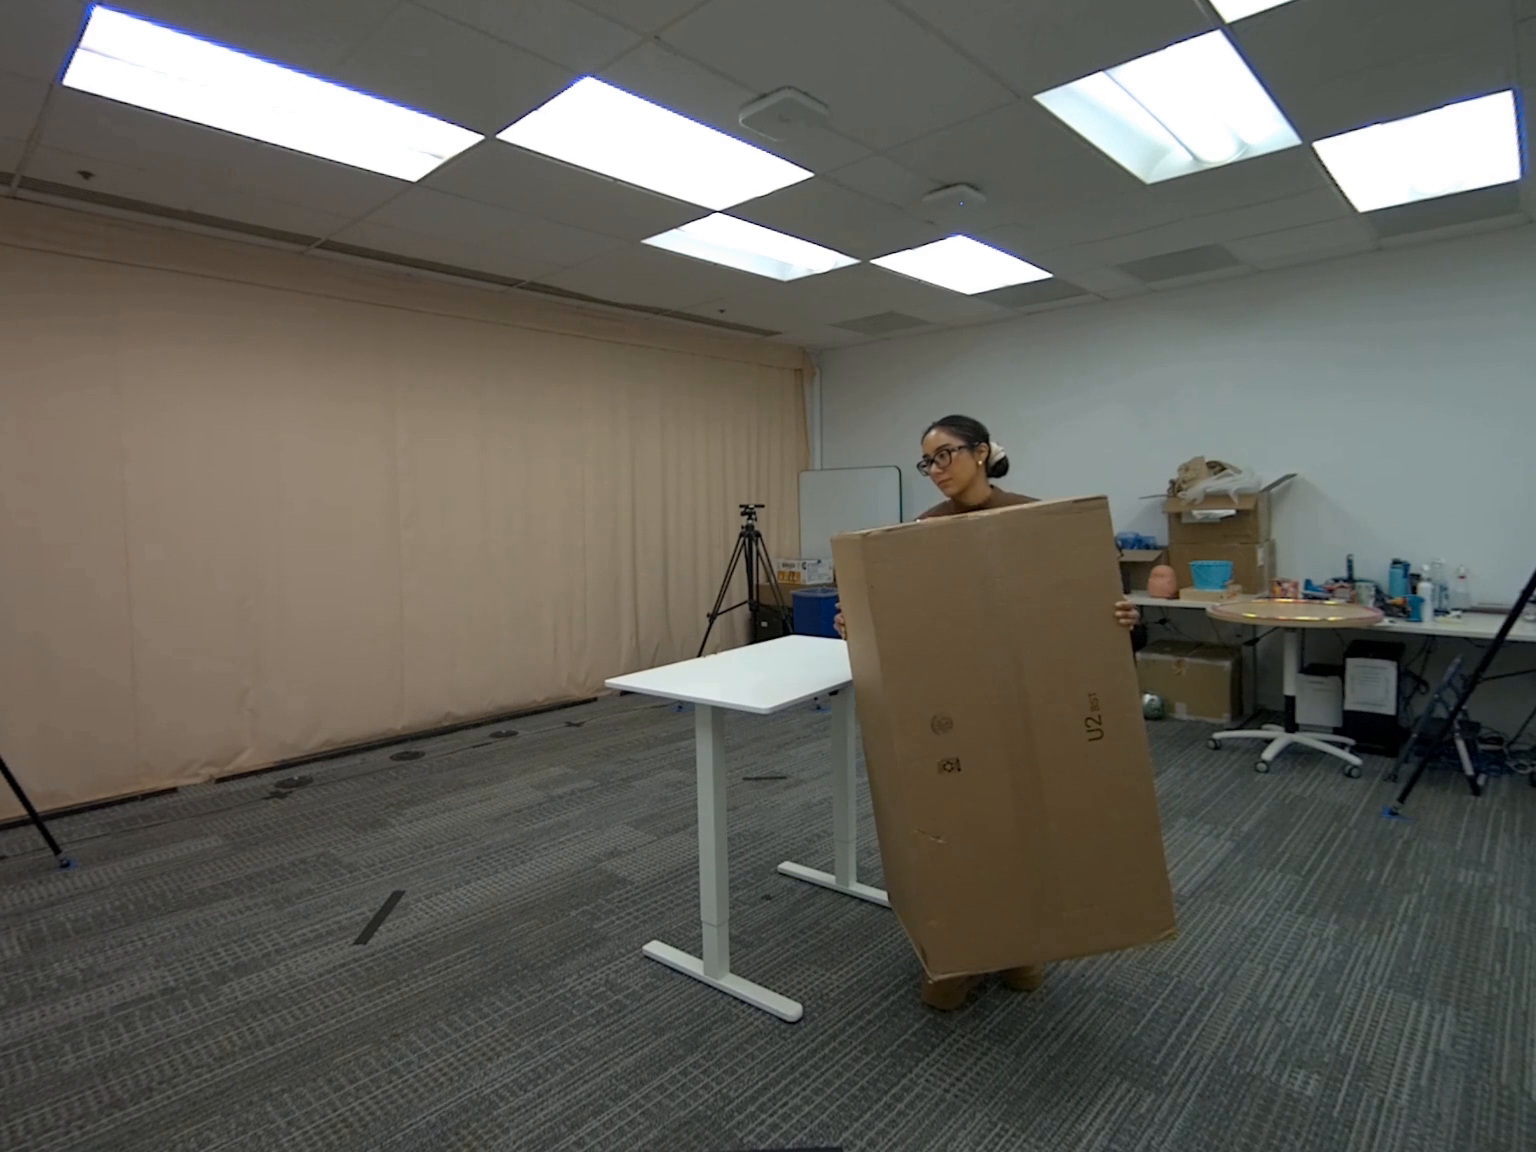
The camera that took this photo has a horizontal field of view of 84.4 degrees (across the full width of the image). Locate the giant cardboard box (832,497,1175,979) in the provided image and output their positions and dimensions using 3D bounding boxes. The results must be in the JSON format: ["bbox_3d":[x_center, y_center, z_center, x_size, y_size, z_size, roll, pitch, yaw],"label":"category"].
[{"bbox_3d":[0.550,0.357,2.091,0.576,1.026,0.427,-9,0,-2],"label":"giant cardboard box"}]
